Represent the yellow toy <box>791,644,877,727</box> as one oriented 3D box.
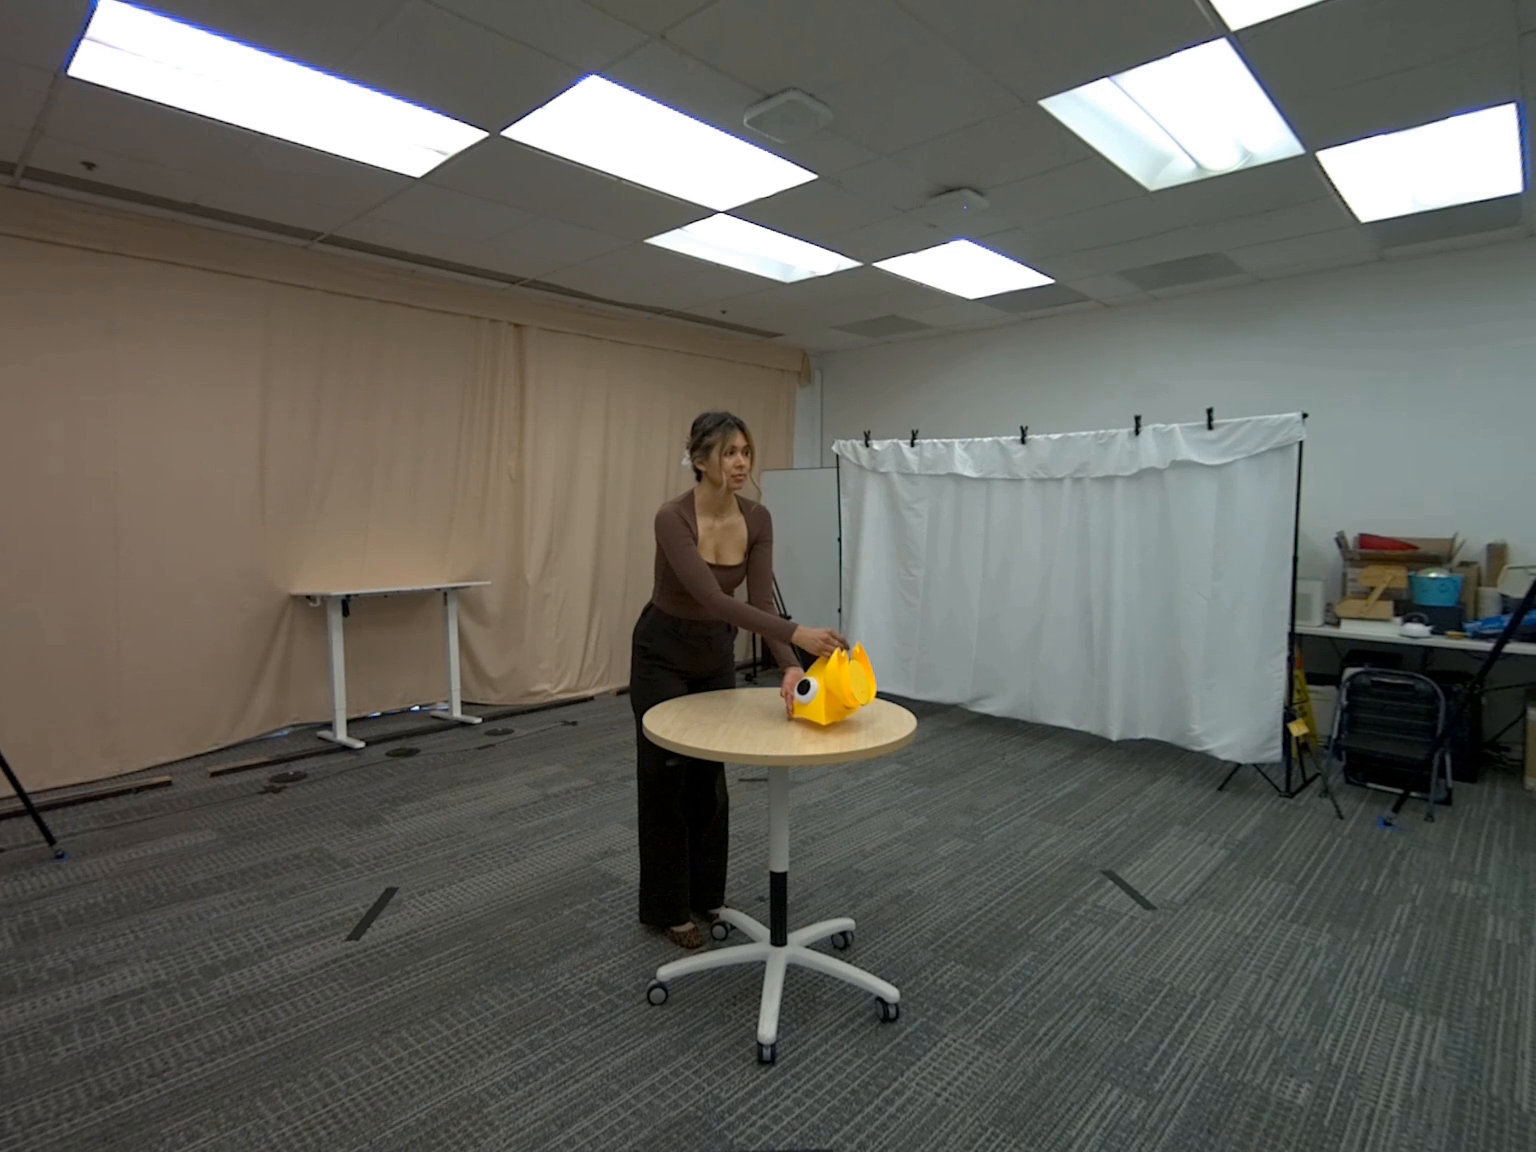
[{"bbox_3d":[0.151,0.304,2.280,0.235,0.194,0.199,-19,-8,31],"label":"yellow toy"}]
